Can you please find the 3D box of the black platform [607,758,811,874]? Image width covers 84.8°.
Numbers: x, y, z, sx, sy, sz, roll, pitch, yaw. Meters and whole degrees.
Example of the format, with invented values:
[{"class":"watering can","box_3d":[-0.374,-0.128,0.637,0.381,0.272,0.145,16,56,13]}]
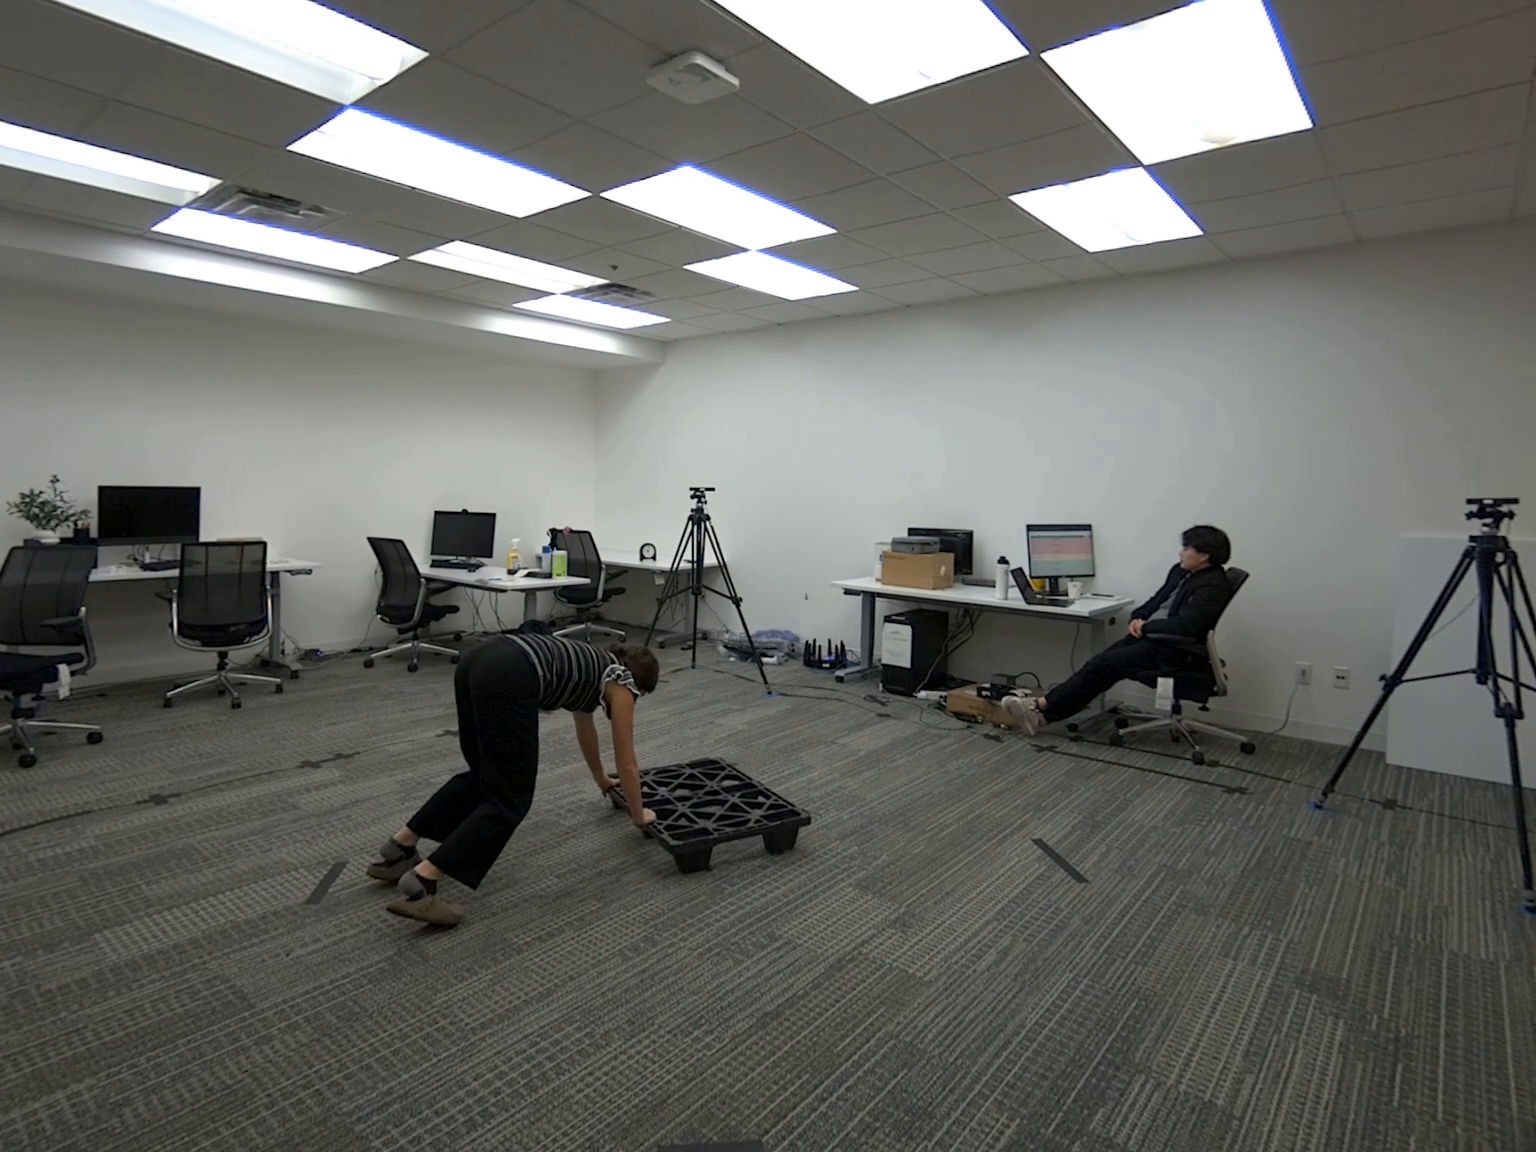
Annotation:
[{"class":"black platform","box_3d":[-0.292,0.957,3.487,0.590,0.143,0.830,-3,7,-29]}]
